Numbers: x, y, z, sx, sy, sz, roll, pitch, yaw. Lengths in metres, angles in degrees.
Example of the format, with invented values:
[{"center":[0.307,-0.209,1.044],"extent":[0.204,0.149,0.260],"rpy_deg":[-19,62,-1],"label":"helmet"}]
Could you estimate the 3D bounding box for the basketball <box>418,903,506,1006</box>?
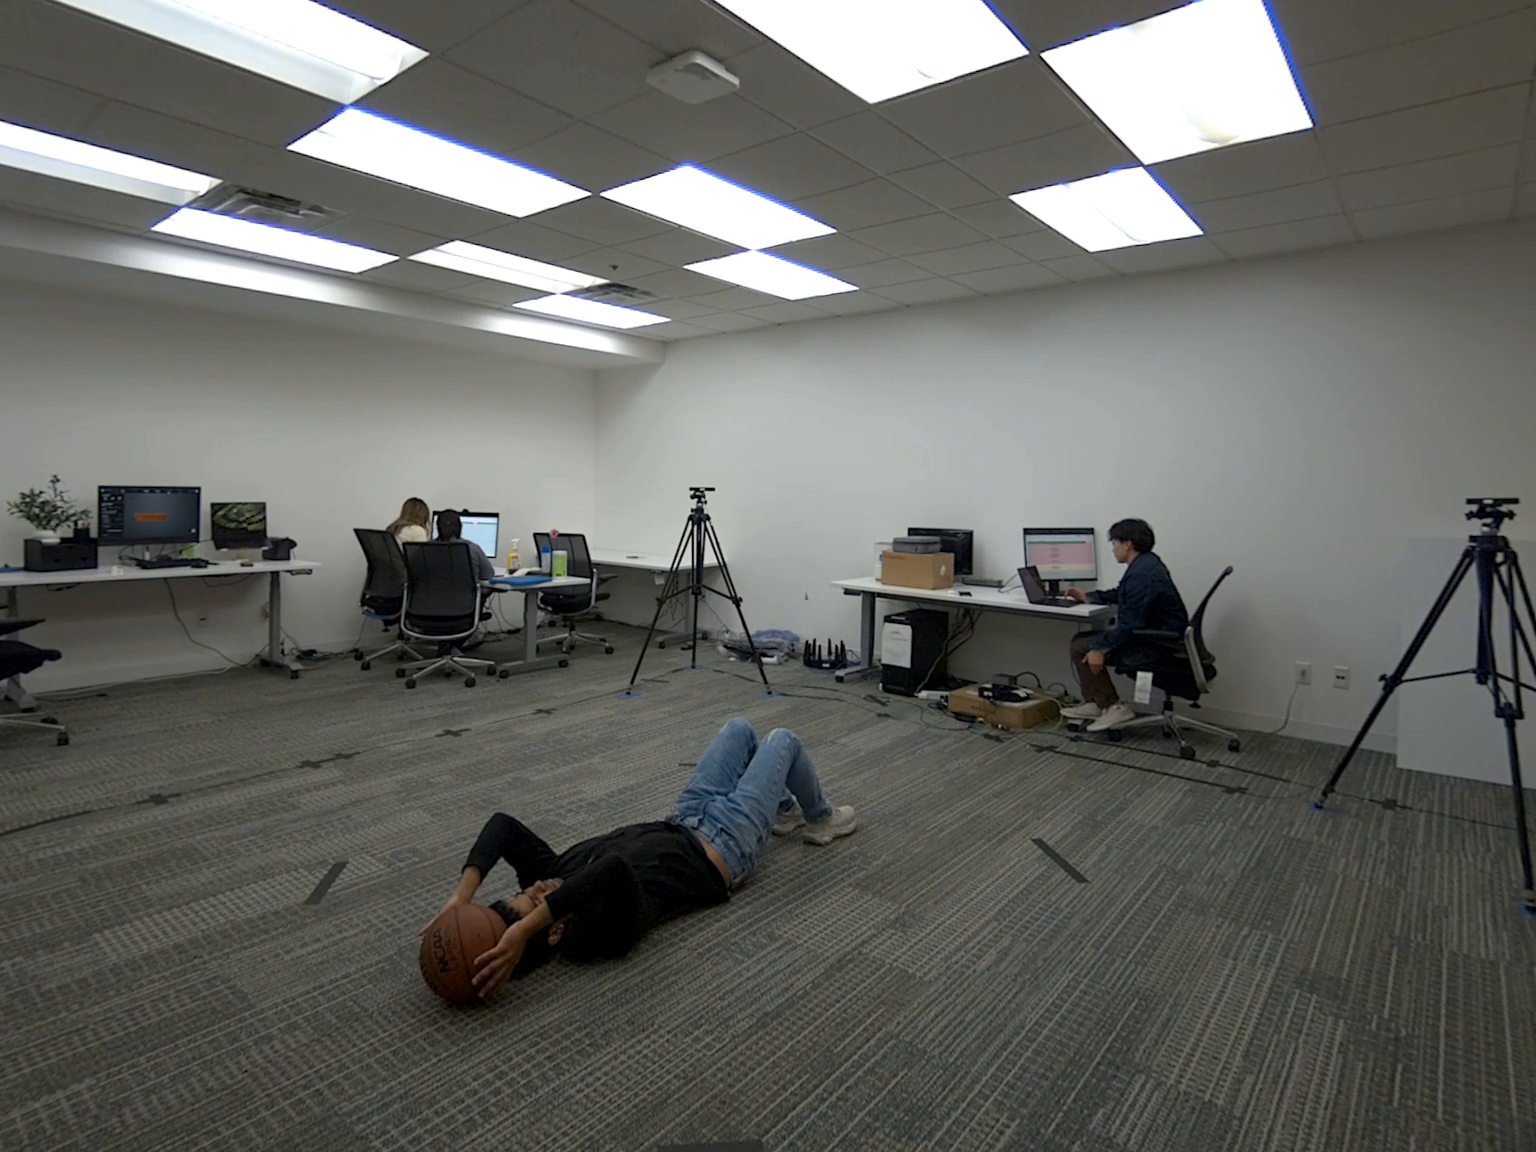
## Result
[{"center":[-0.828,1.015,2.310],"extent":[0.235,0.235,0.237],"rpy_deg":[1,4,-2],"label":"basketball"}]
